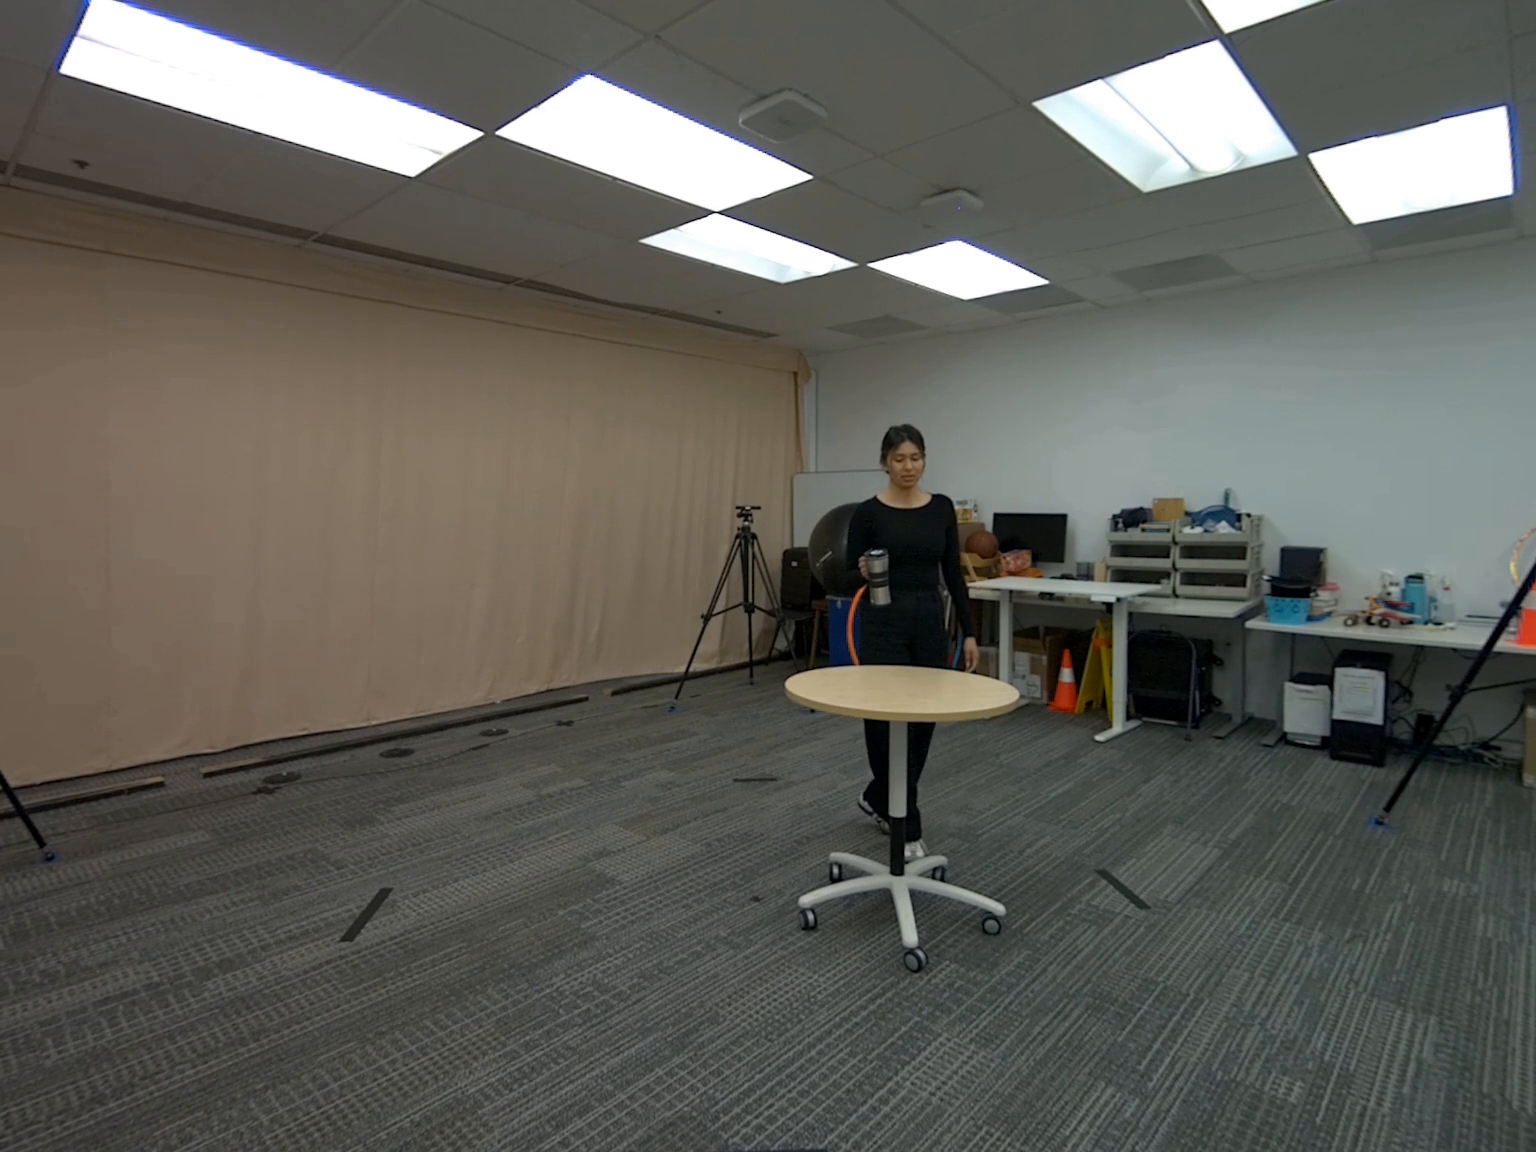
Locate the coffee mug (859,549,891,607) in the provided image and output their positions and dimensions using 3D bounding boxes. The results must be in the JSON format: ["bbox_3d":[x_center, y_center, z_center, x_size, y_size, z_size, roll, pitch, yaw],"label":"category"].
[{"bbox_3d":[0.392,0.007,3.109,0.087,0.201,0.124,-13,13,-13],"label":"coffee mug"}]
